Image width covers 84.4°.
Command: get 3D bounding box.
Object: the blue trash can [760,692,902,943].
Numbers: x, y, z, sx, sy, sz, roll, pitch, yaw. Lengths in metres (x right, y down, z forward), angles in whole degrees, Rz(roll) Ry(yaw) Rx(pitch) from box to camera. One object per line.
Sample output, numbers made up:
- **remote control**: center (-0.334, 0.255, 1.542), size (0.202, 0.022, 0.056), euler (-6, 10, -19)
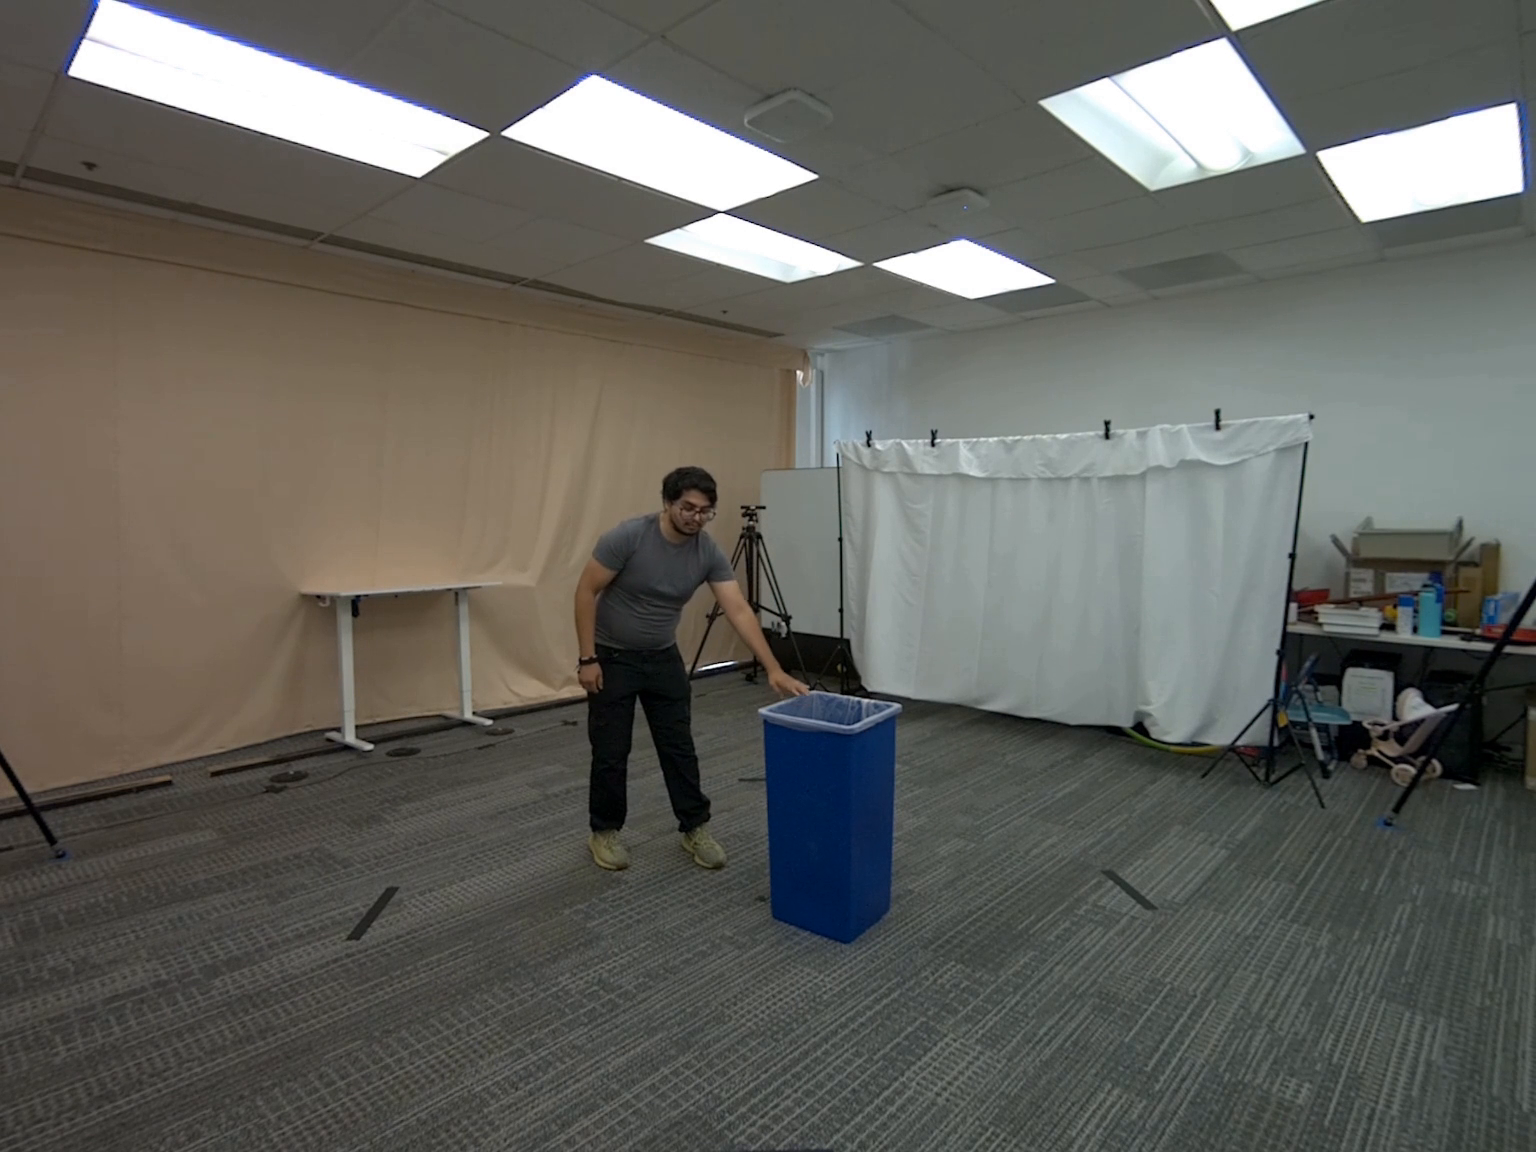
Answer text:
- **blue trash can**: center (0.216, 0.797, 2.846), size (0.390, 0.712, 0.363), euler (2, 4, 37)
